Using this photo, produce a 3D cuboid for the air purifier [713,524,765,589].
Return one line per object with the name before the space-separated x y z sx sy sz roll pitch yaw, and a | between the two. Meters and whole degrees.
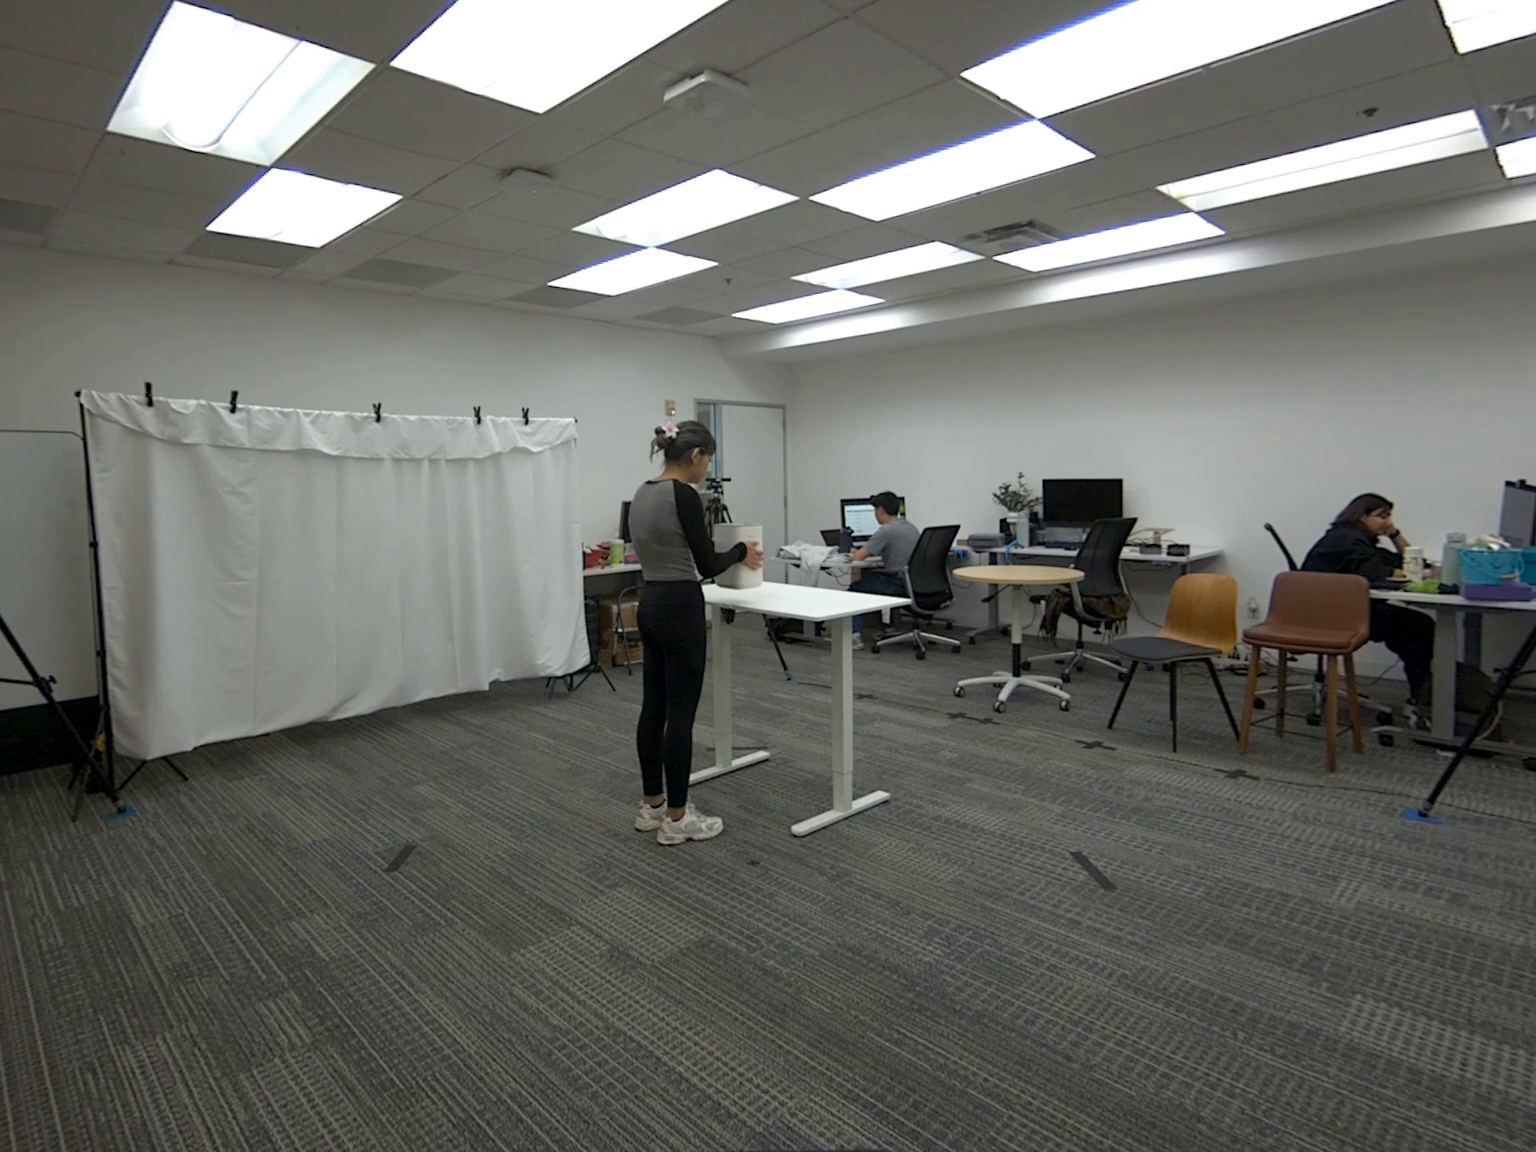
air purifier | -0.127 -0.081 3.554 0.166 0.264 0.177 -5 6 -45
